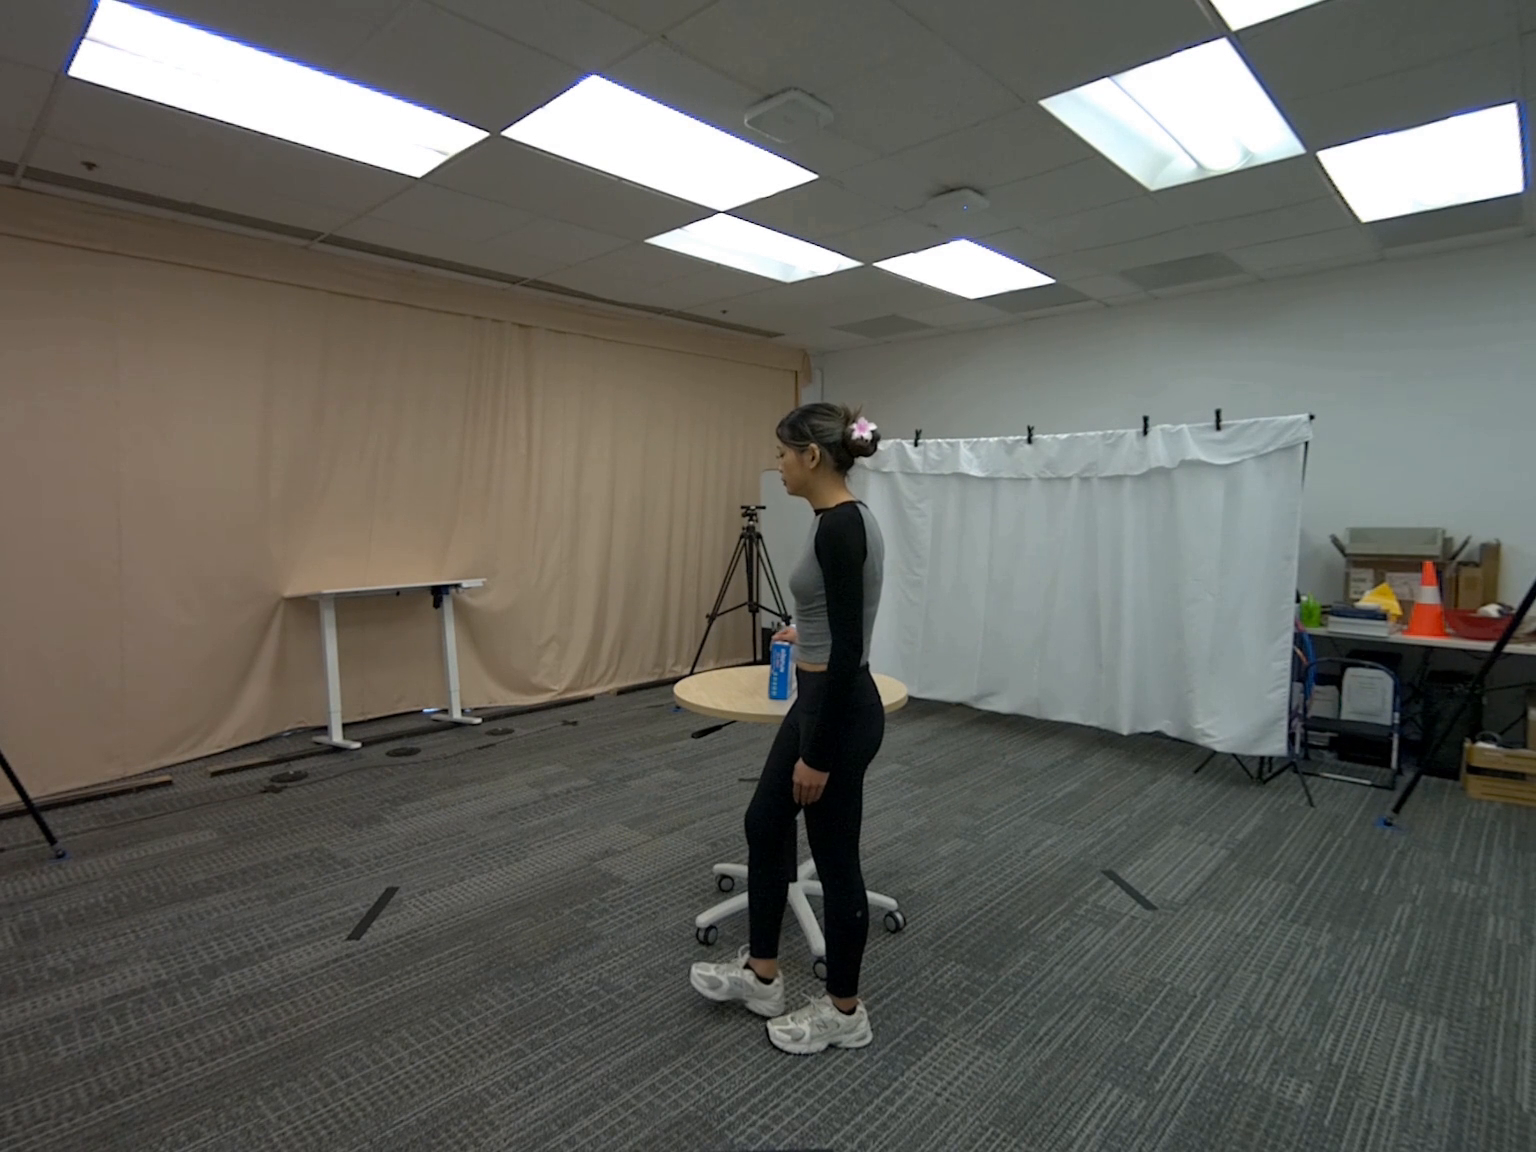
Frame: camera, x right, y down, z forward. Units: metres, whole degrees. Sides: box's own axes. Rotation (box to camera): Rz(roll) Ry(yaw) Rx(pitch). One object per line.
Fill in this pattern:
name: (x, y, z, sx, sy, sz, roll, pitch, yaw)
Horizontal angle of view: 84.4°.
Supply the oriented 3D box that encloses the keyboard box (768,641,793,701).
keyboard box: (0.078, 0.273, 2.797, 0.060, 0.175, 0.432, 4, 7, 10)
